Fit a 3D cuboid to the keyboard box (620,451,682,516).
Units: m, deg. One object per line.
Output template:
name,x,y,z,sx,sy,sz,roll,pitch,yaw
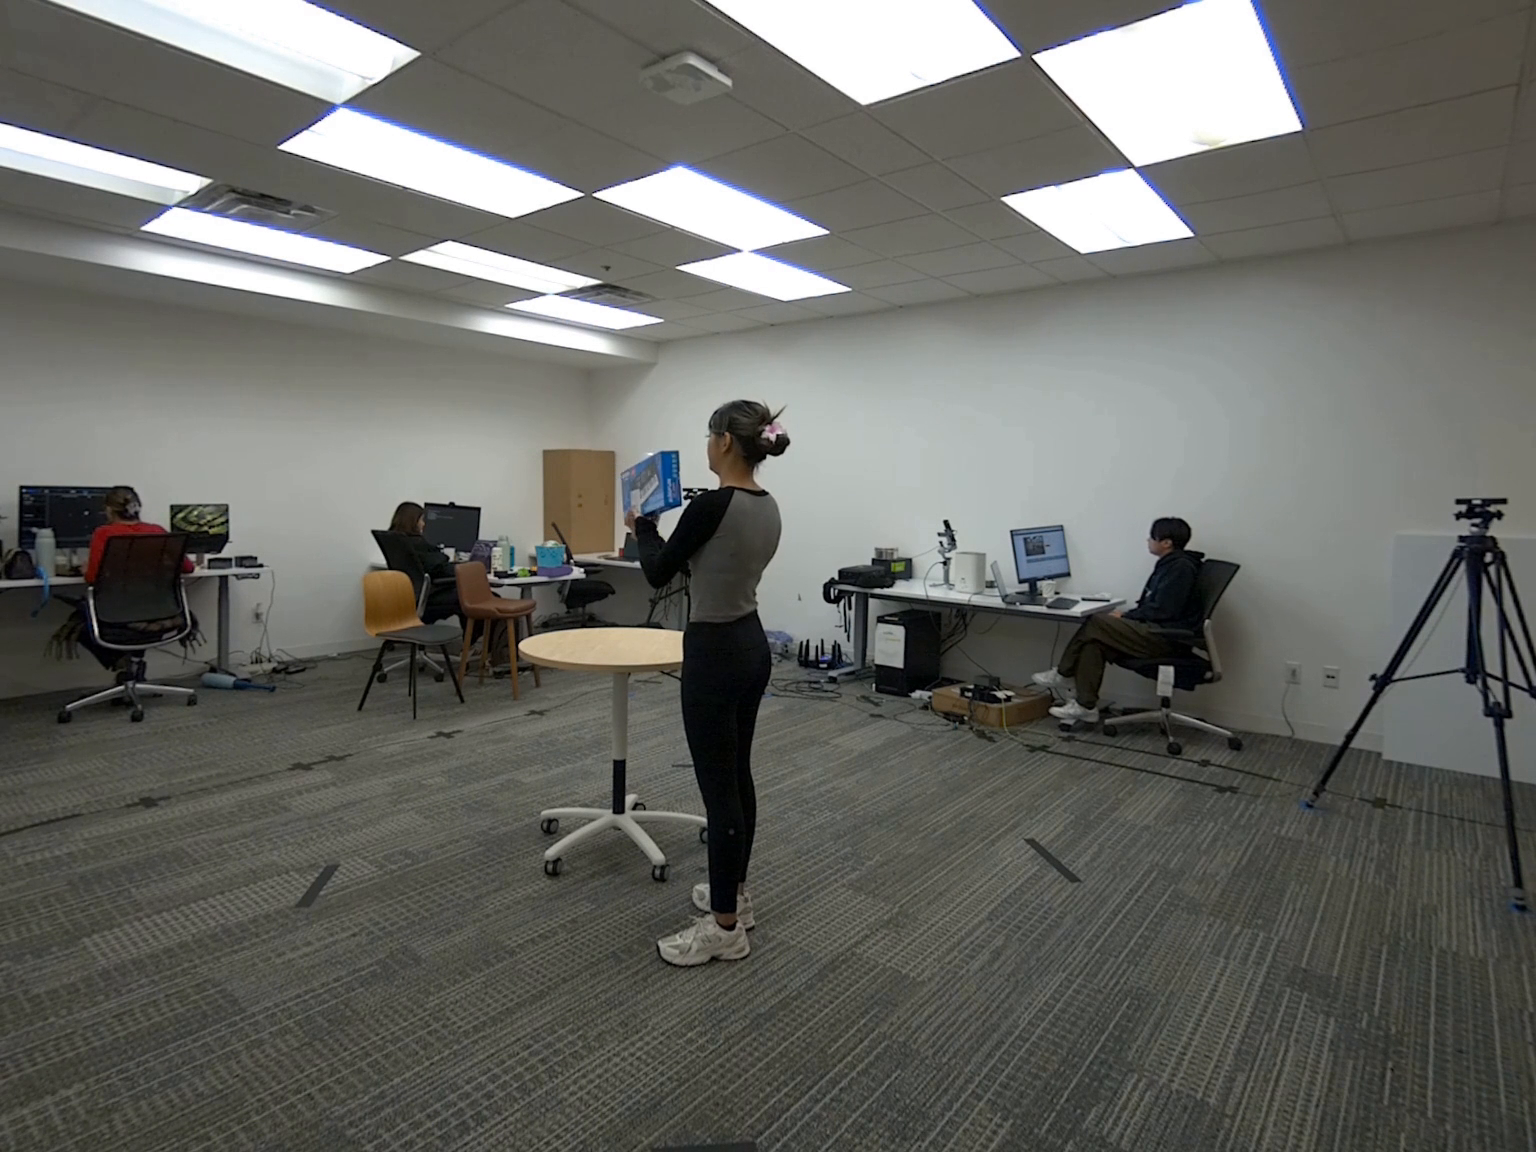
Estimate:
keyboard box,-0.399,-0.287,2.777,0.058,0.177,0.445,-1,-3,-25
